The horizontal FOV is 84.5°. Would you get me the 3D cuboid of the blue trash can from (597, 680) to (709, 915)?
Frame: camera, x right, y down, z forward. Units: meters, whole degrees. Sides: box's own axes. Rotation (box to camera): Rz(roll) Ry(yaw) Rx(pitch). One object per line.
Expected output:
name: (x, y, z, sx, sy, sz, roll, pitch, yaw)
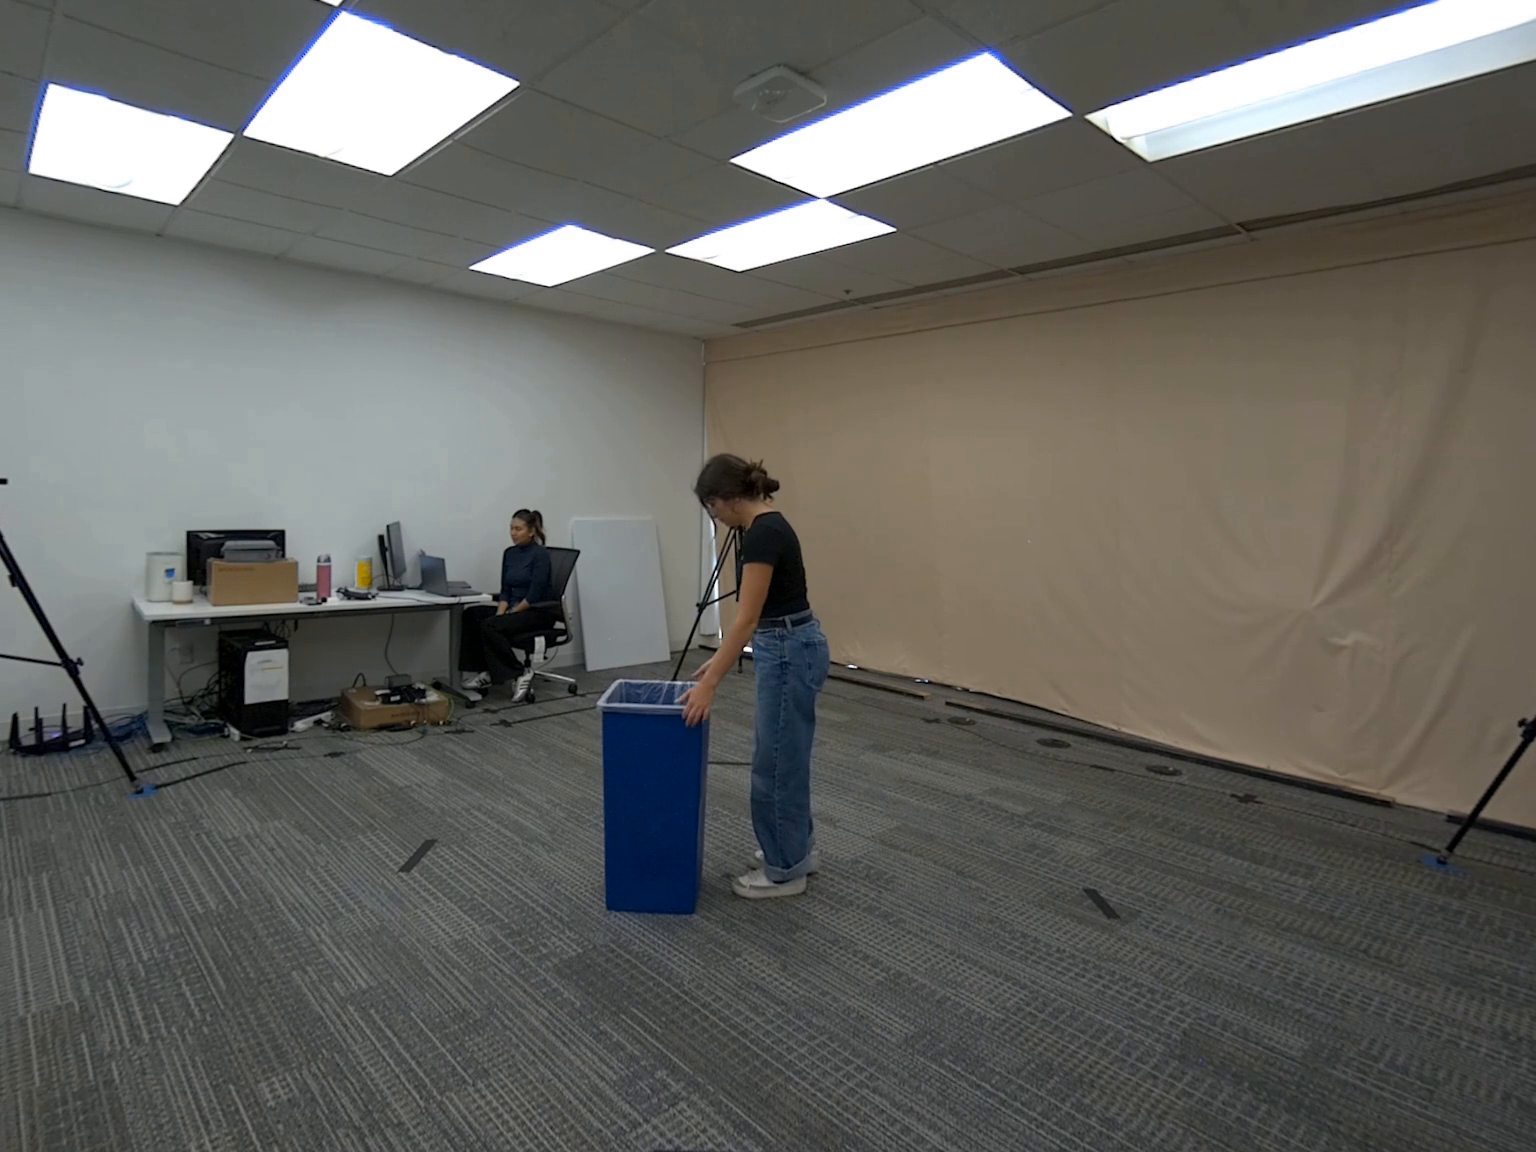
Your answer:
blue trash can: (-0.390, 0.761, 2.931, 0.379, 0.712, 0.374, 1, 3, 1)
